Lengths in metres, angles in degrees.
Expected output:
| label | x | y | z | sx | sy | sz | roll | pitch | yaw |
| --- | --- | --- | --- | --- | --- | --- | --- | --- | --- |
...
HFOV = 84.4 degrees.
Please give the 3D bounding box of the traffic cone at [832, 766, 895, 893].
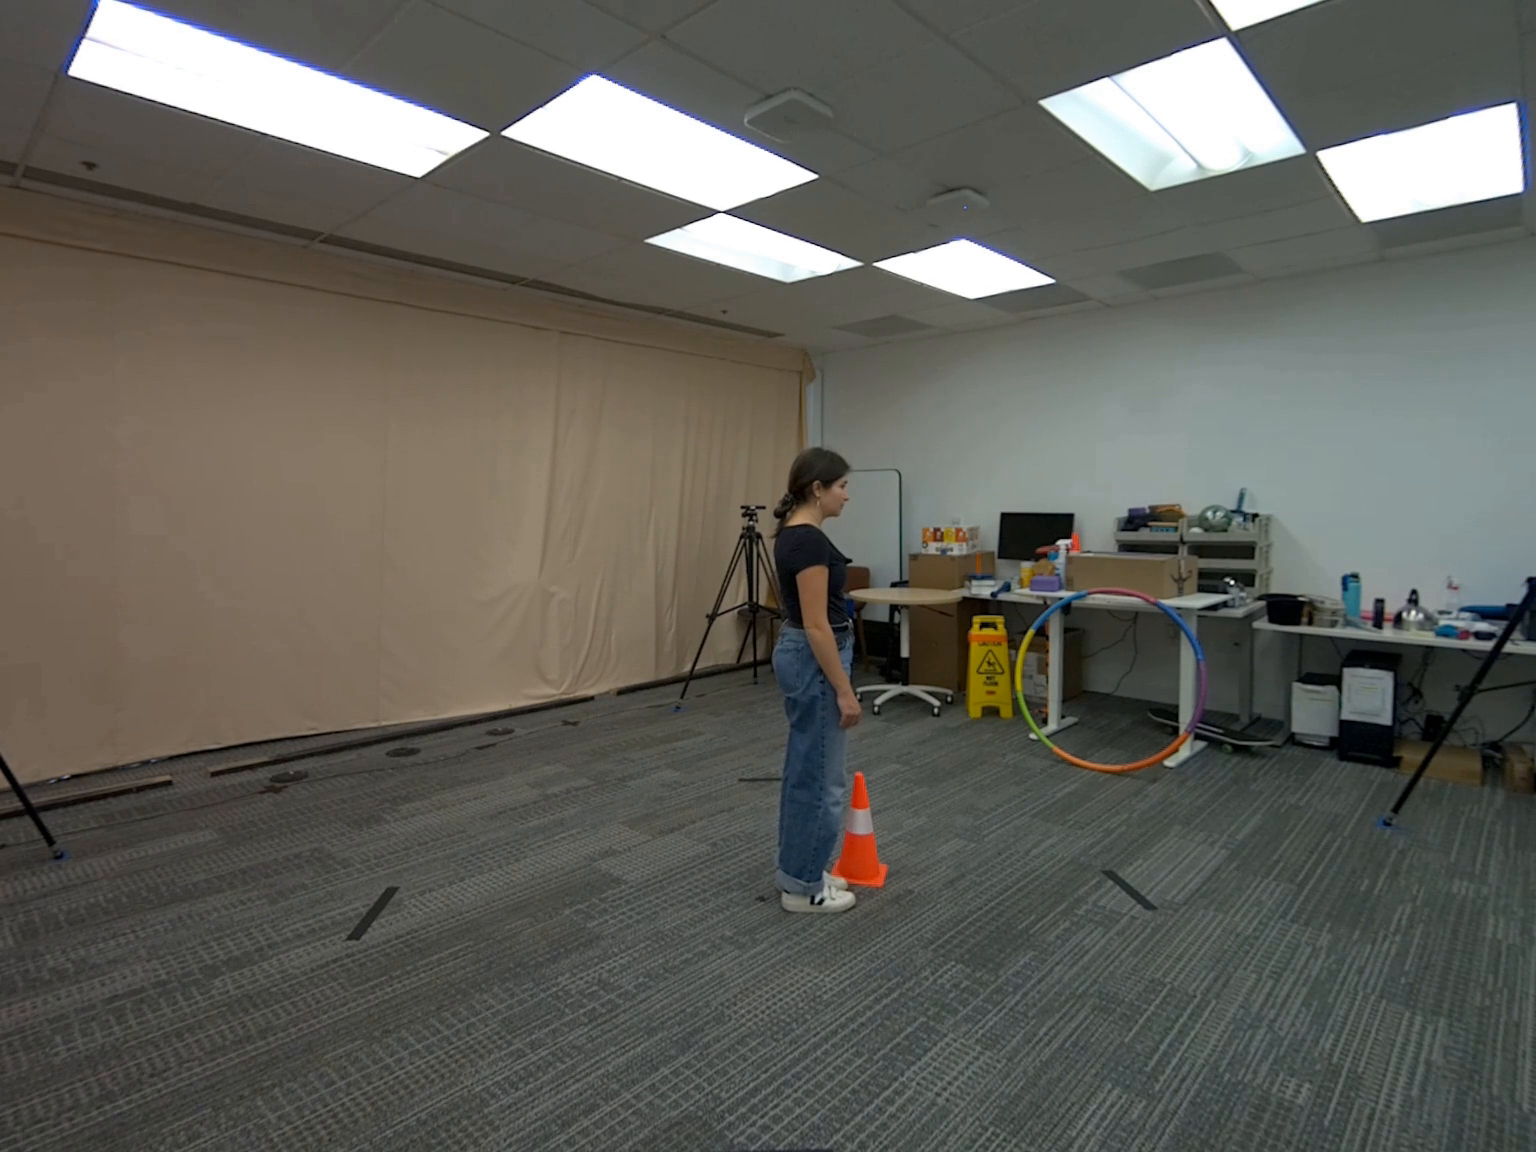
| label | x | y | z | sx | sy | sz | roll | pitch | yaw |
| --- | --- | --- | --- | --- | --- | --- | --- | --- | --- |
| traffic cone | 0.357 | 0.939 | 3.176 | 0.207 | 0.383 | 0.202 | 0 | 3 | 16 |
